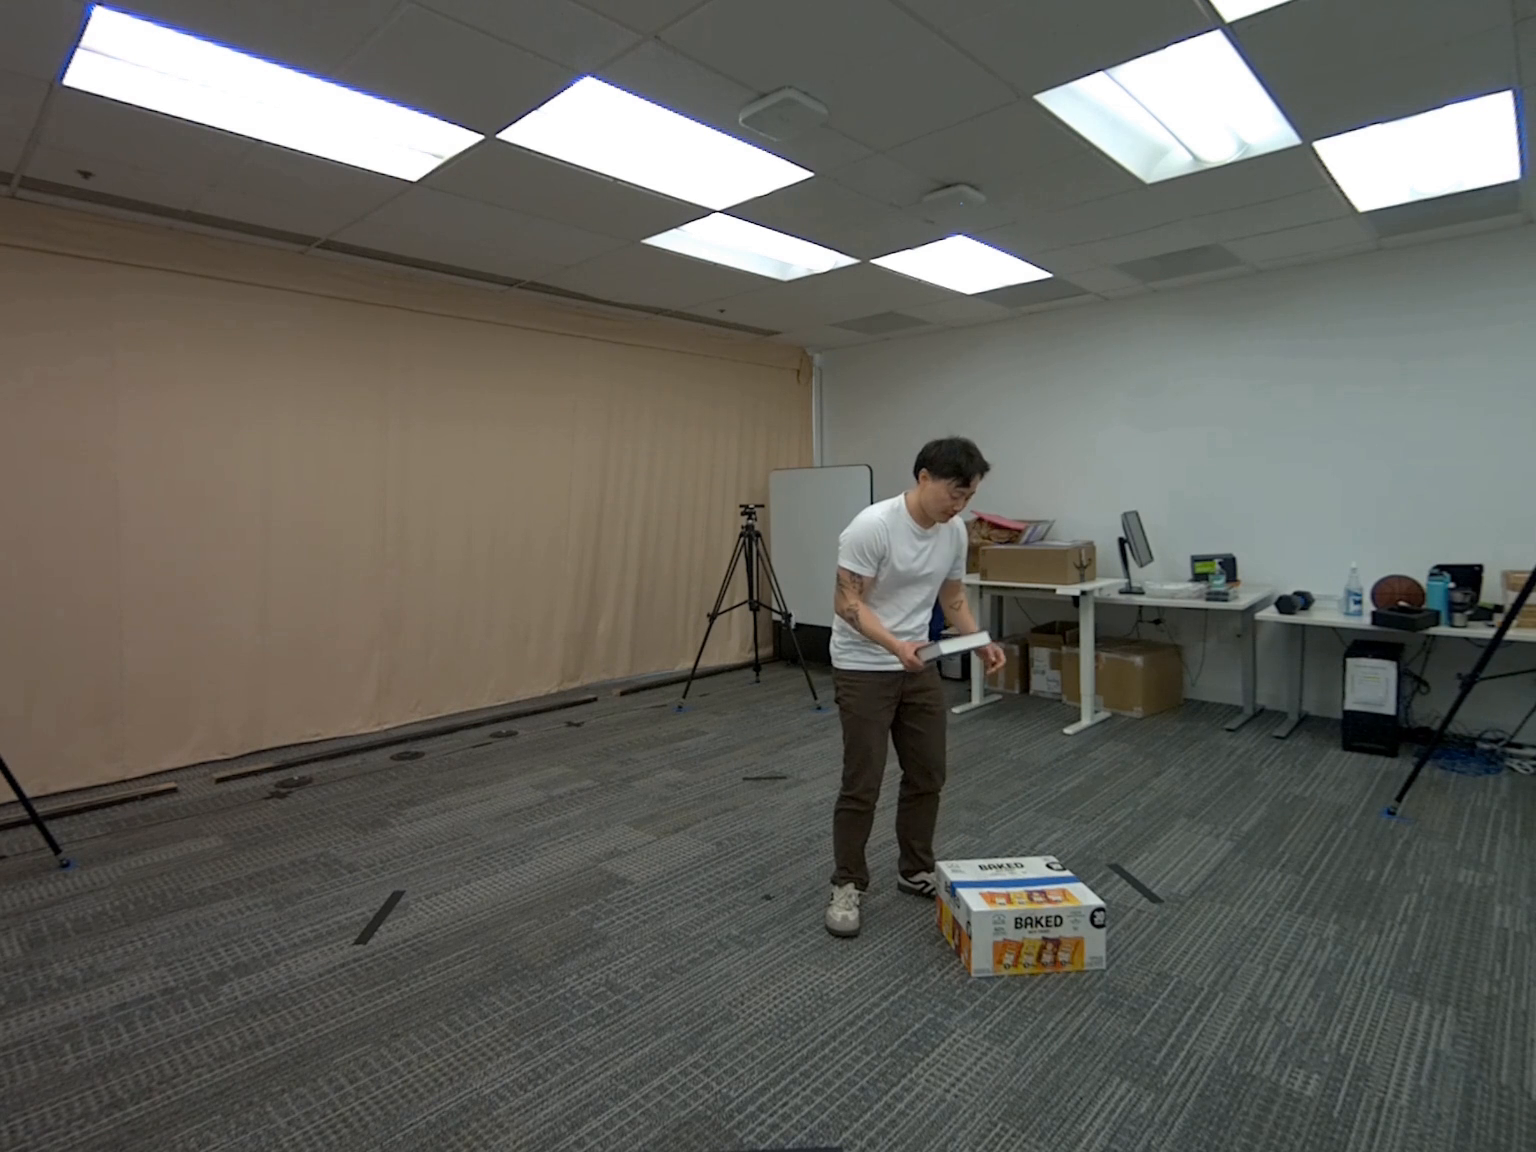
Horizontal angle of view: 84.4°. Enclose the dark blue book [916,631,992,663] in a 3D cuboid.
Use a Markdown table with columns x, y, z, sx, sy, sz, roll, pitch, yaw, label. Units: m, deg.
| x | y | z | sx | sy | sz | roll | pitch | yaw | label |
| --- | --- | --- | --- | --- | --- | --- | --- | --- | --- |
| 0.532 | 0.217 | 2.524 | 0.162 | 0.045 | 0.245 | -11 | -10 | -12 | dark blue book |
